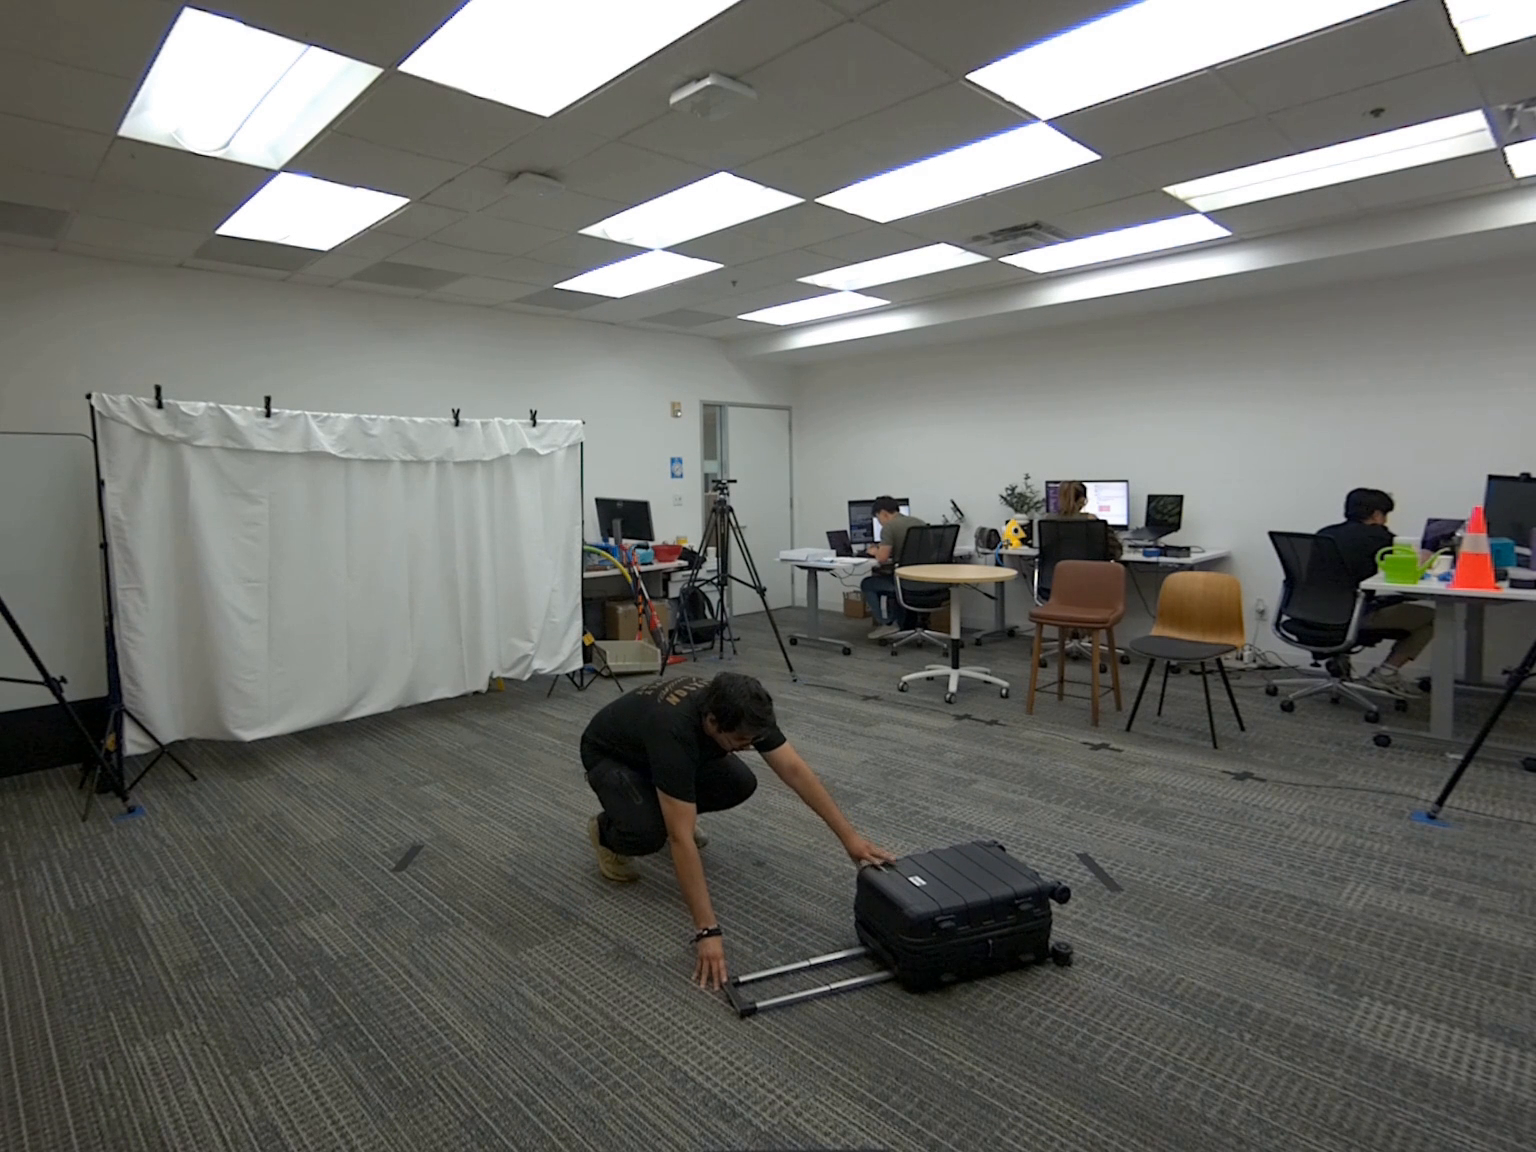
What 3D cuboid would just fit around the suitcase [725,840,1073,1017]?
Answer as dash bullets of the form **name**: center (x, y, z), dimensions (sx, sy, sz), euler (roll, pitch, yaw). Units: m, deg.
- **suitcase**: center (0.362, 0.987, 2.443), dimensions (0.961, 0.256, 0.393), euler (-2, 6, -20)
